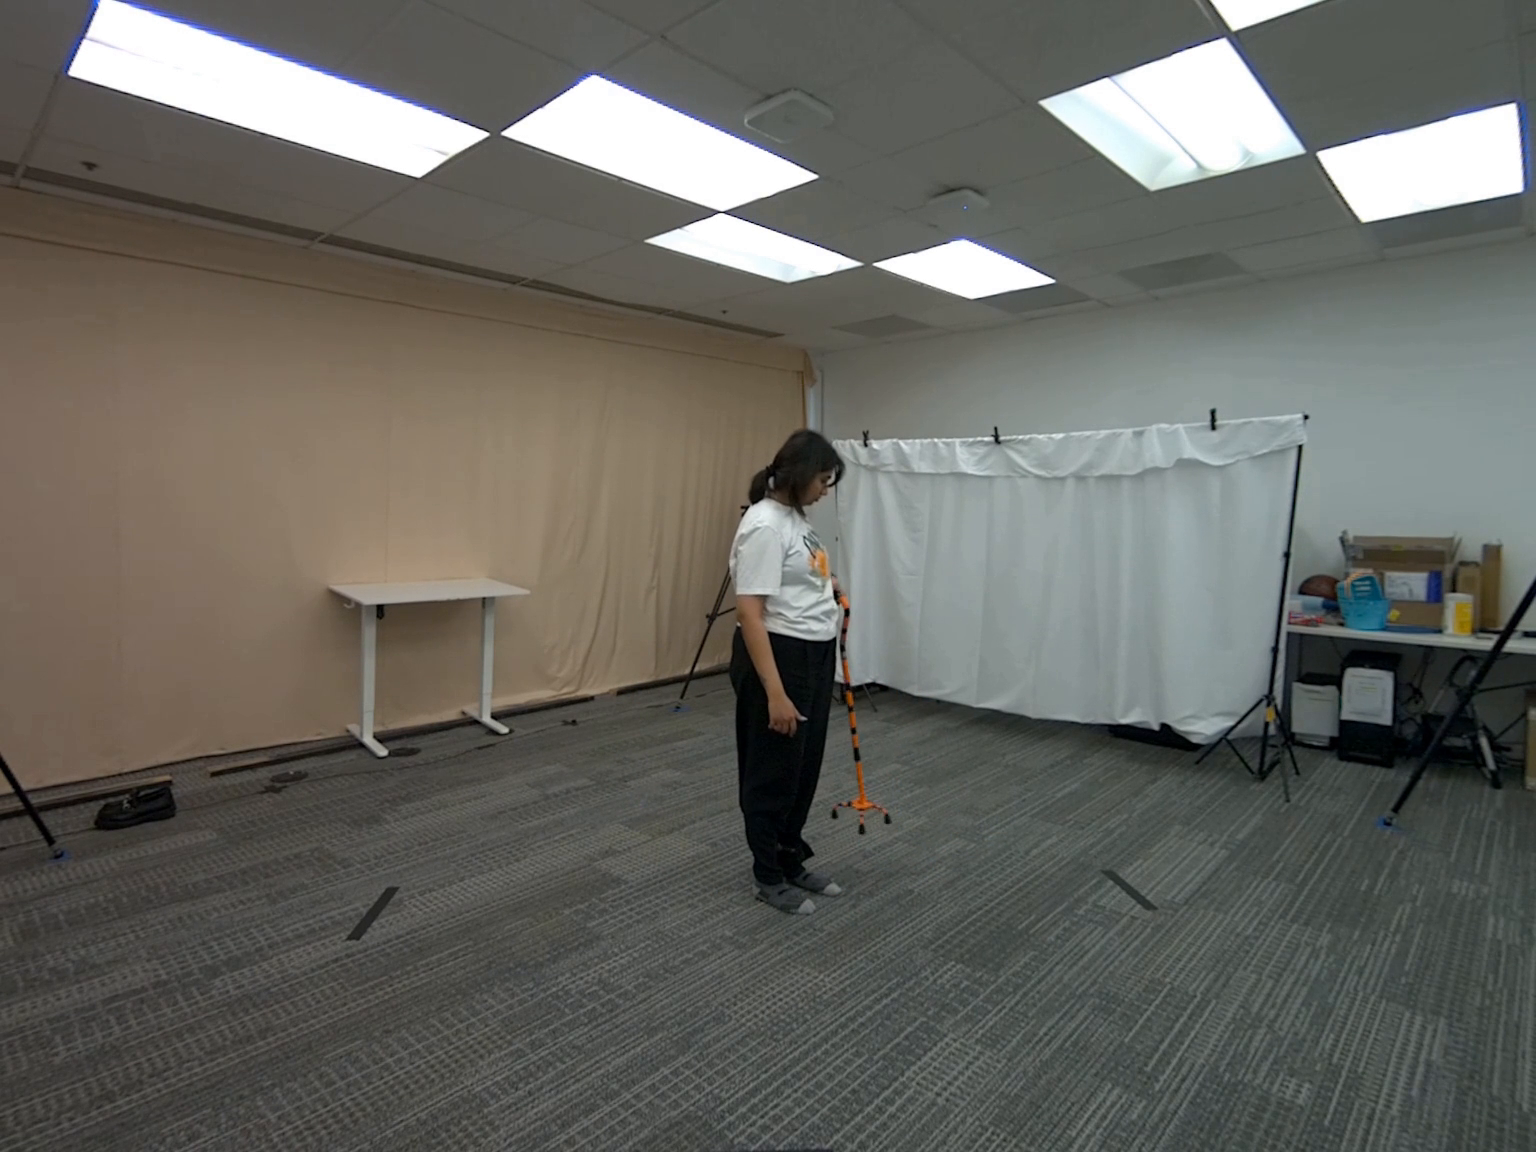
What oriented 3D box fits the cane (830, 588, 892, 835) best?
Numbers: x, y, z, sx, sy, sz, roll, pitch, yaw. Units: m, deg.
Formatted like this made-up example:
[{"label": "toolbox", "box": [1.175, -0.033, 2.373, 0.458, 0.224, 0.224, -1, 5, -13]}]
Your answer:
[{"label": "cane", "box": [0.305, 0.509, 3.221, 0.148, 0.903, 0.212, -10, 7, -29]}]
